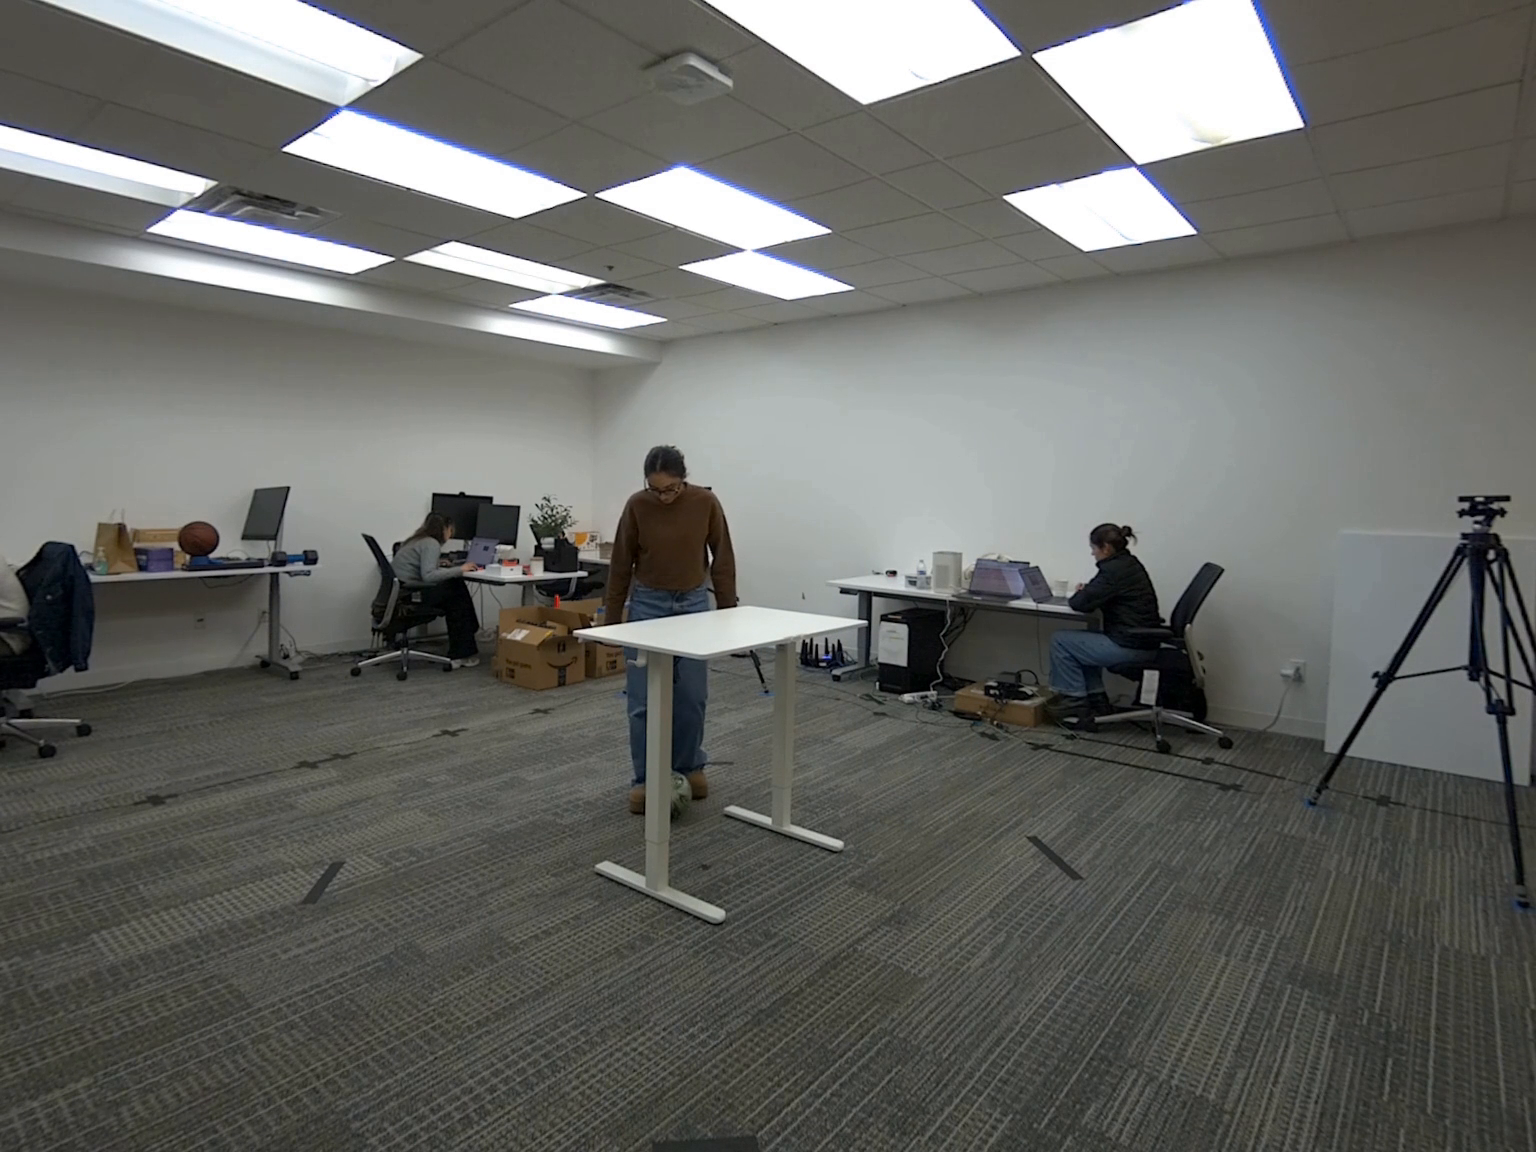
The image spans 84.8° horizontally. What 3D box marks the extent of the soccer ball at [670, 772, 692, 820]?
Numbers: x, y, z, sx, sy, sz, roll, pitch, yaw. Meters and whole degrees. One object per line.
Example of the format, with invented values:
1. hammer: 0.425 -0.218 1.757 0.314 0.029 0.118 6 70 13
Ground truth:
1. soccer ball: -0.428 0.915 3.598 0.187 0.187 0.188 1 4 -2
